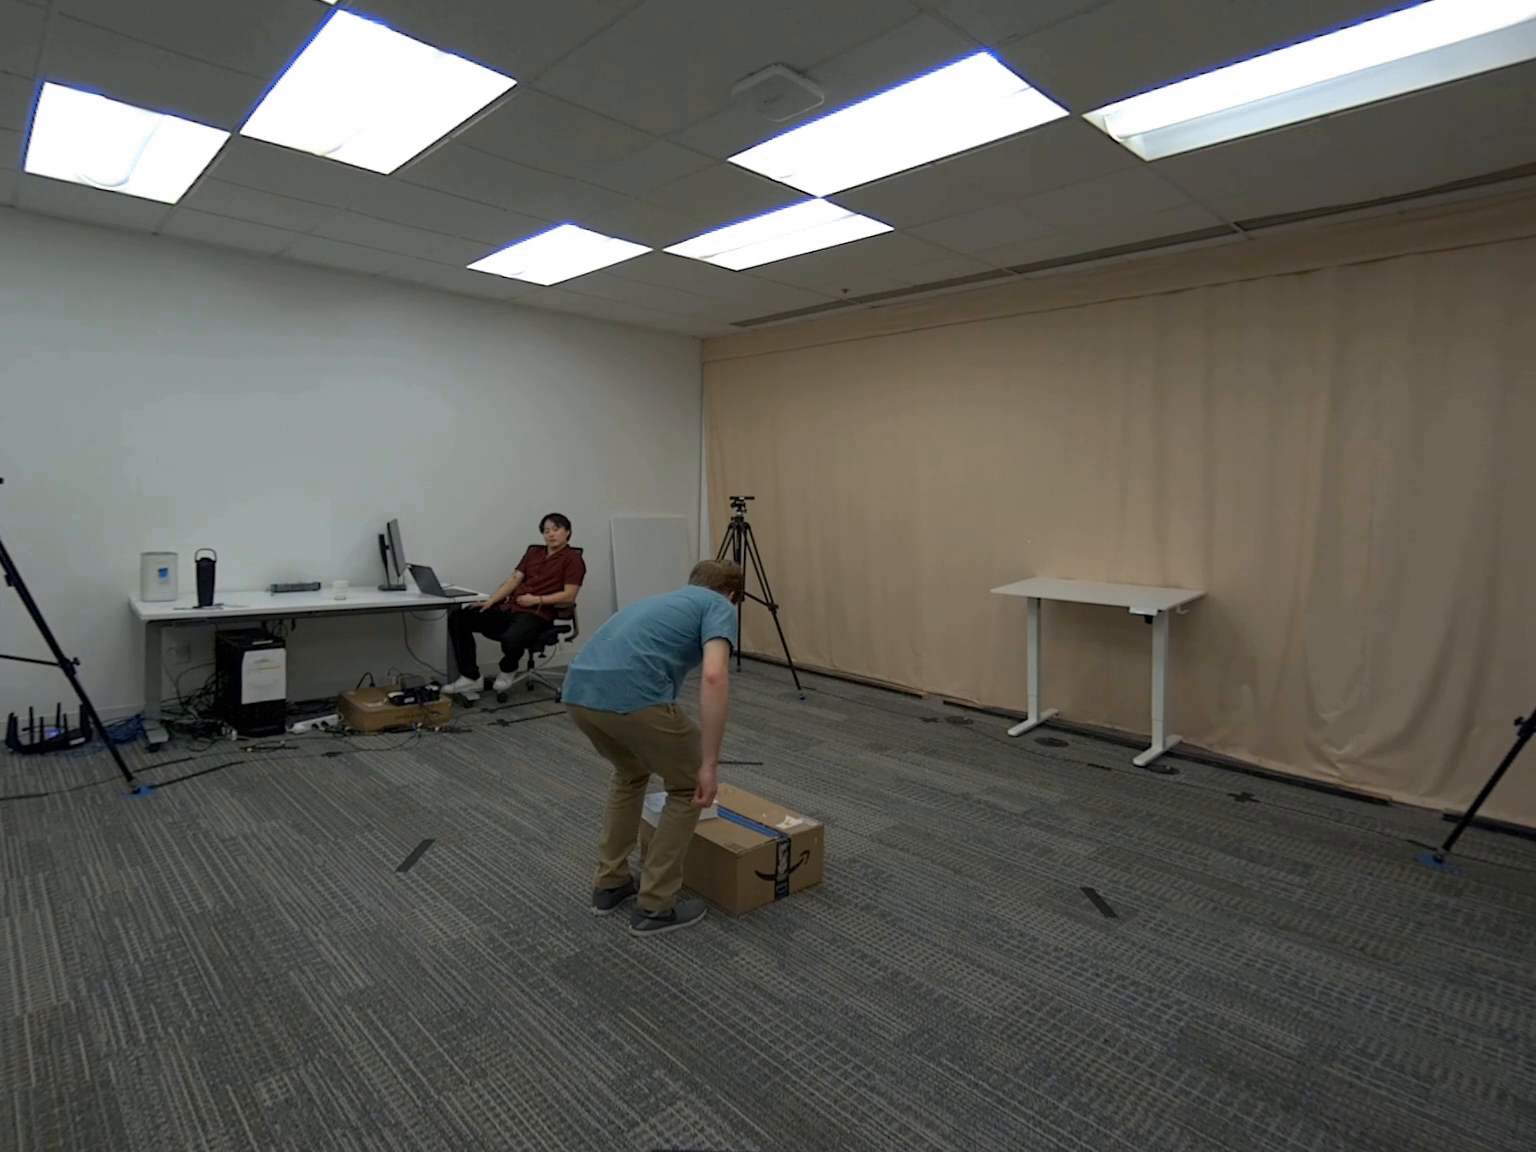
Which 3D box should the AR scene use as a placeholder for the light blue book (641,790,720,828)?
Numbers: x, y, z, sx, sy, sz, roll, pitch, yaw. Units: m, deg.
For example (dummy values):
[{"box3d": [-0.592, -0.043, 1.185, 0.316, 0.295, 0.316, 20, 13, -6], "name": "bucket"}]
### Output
[{"box3d": [-0.345, 0.859, 3.125, 0.255, 0.059, 0.196, -1, 6, -33], "name": "light blue book"}]
